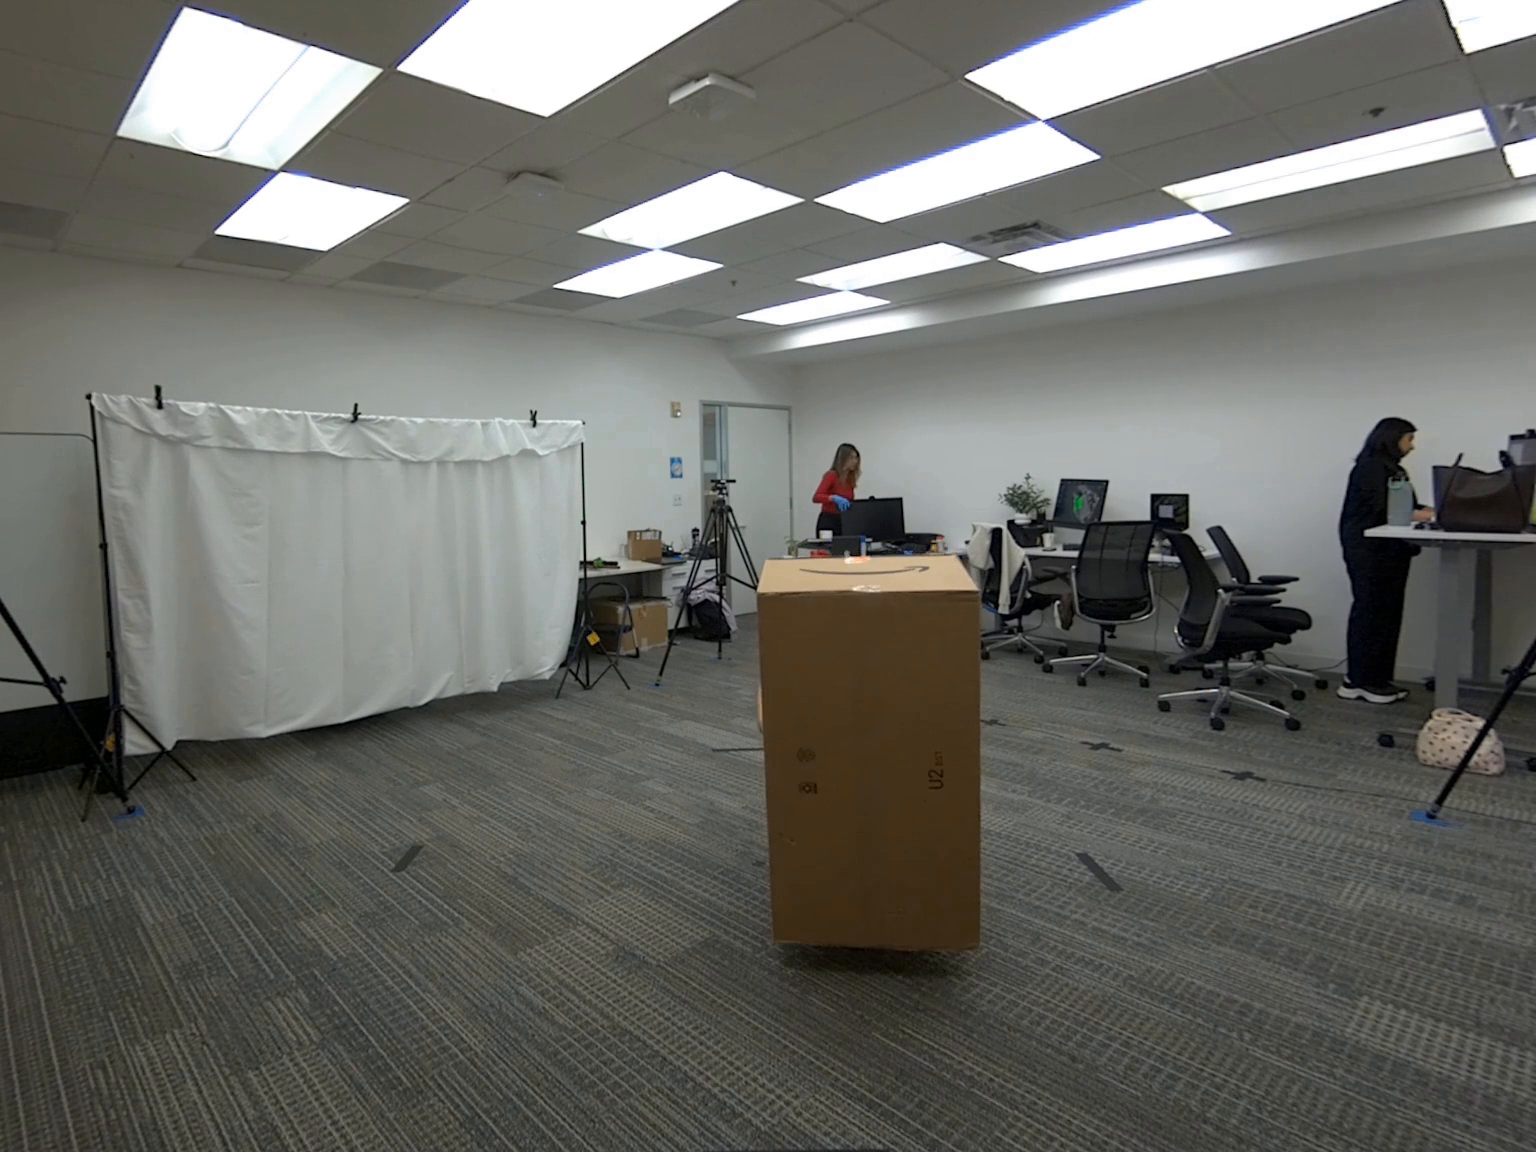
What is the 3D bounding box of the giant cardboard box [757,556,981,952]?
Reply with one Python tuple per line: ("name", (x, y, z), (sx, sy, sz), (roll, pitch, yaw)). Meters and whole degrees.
("giant cardboard box", (0.290, 0.493, 2.485), (0.587, 1.016, 0.449), (-2, 11, 5))
